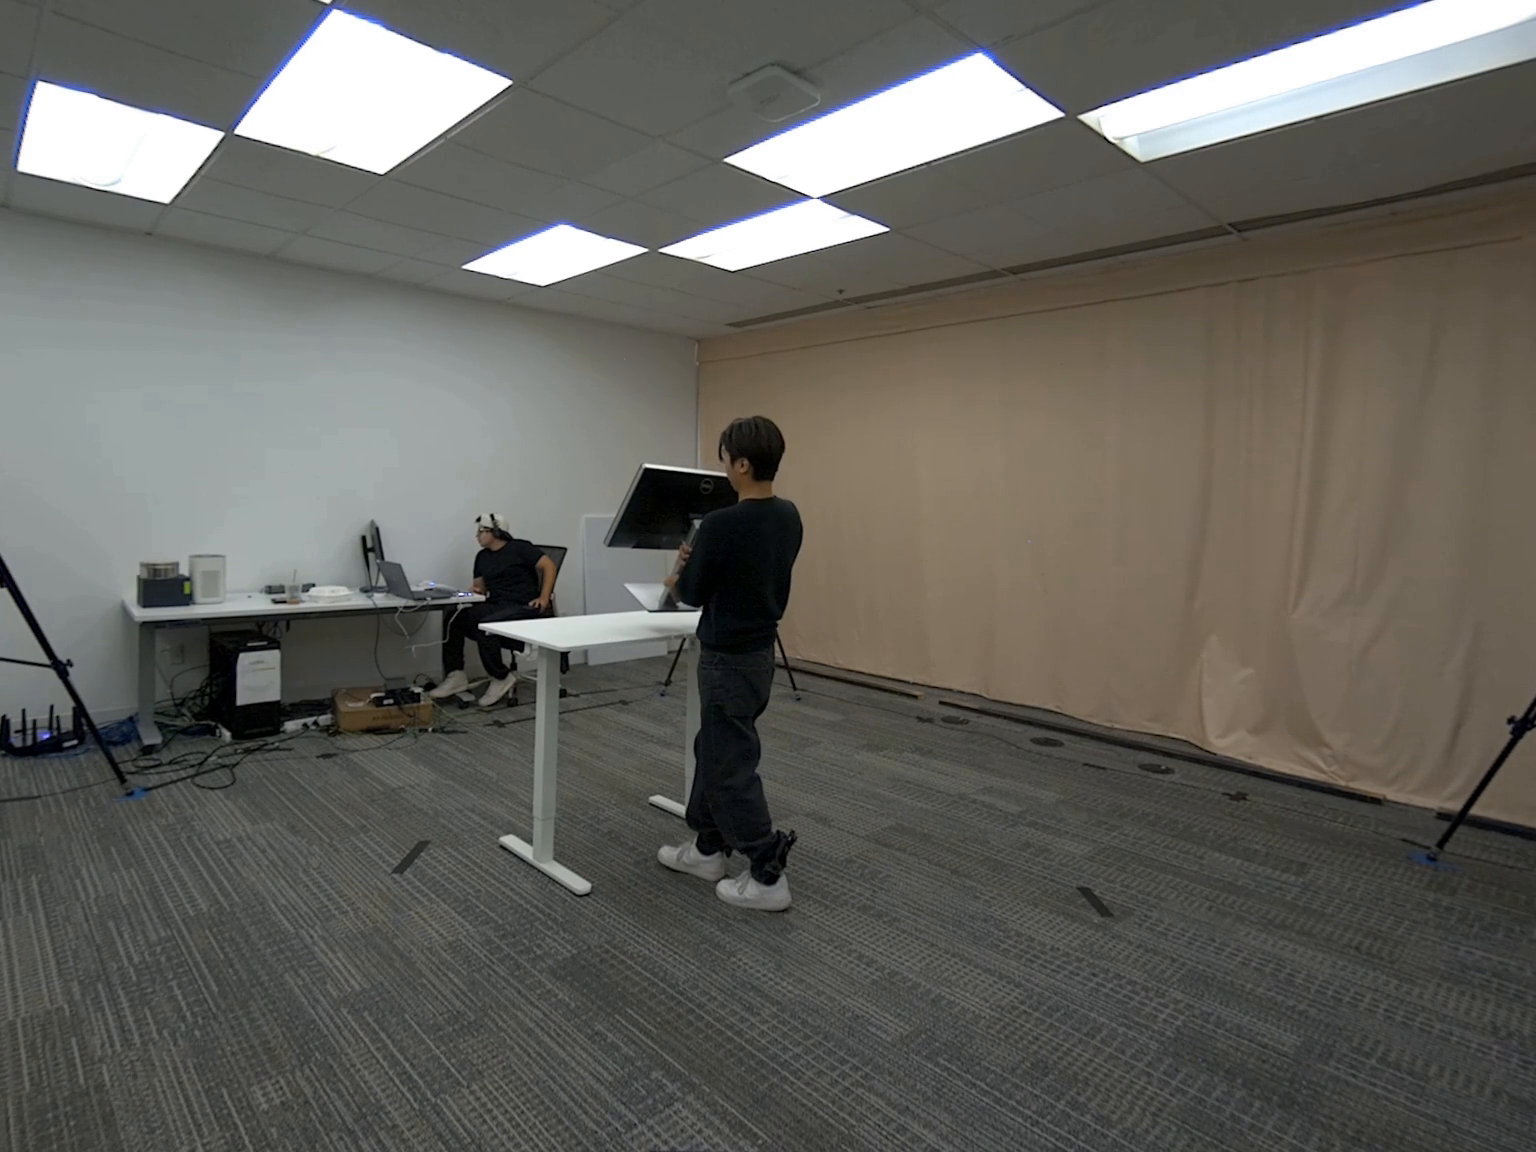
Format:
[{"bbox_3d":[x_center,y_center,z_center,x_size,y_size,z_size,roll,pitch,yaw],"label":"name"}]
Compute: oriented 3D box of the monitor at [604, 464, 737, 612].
[{"bbox_3d":[-0.317,-0.143,3.136,0.526,0.518,0.193,1,28,-43],"label":"monitor"}]
